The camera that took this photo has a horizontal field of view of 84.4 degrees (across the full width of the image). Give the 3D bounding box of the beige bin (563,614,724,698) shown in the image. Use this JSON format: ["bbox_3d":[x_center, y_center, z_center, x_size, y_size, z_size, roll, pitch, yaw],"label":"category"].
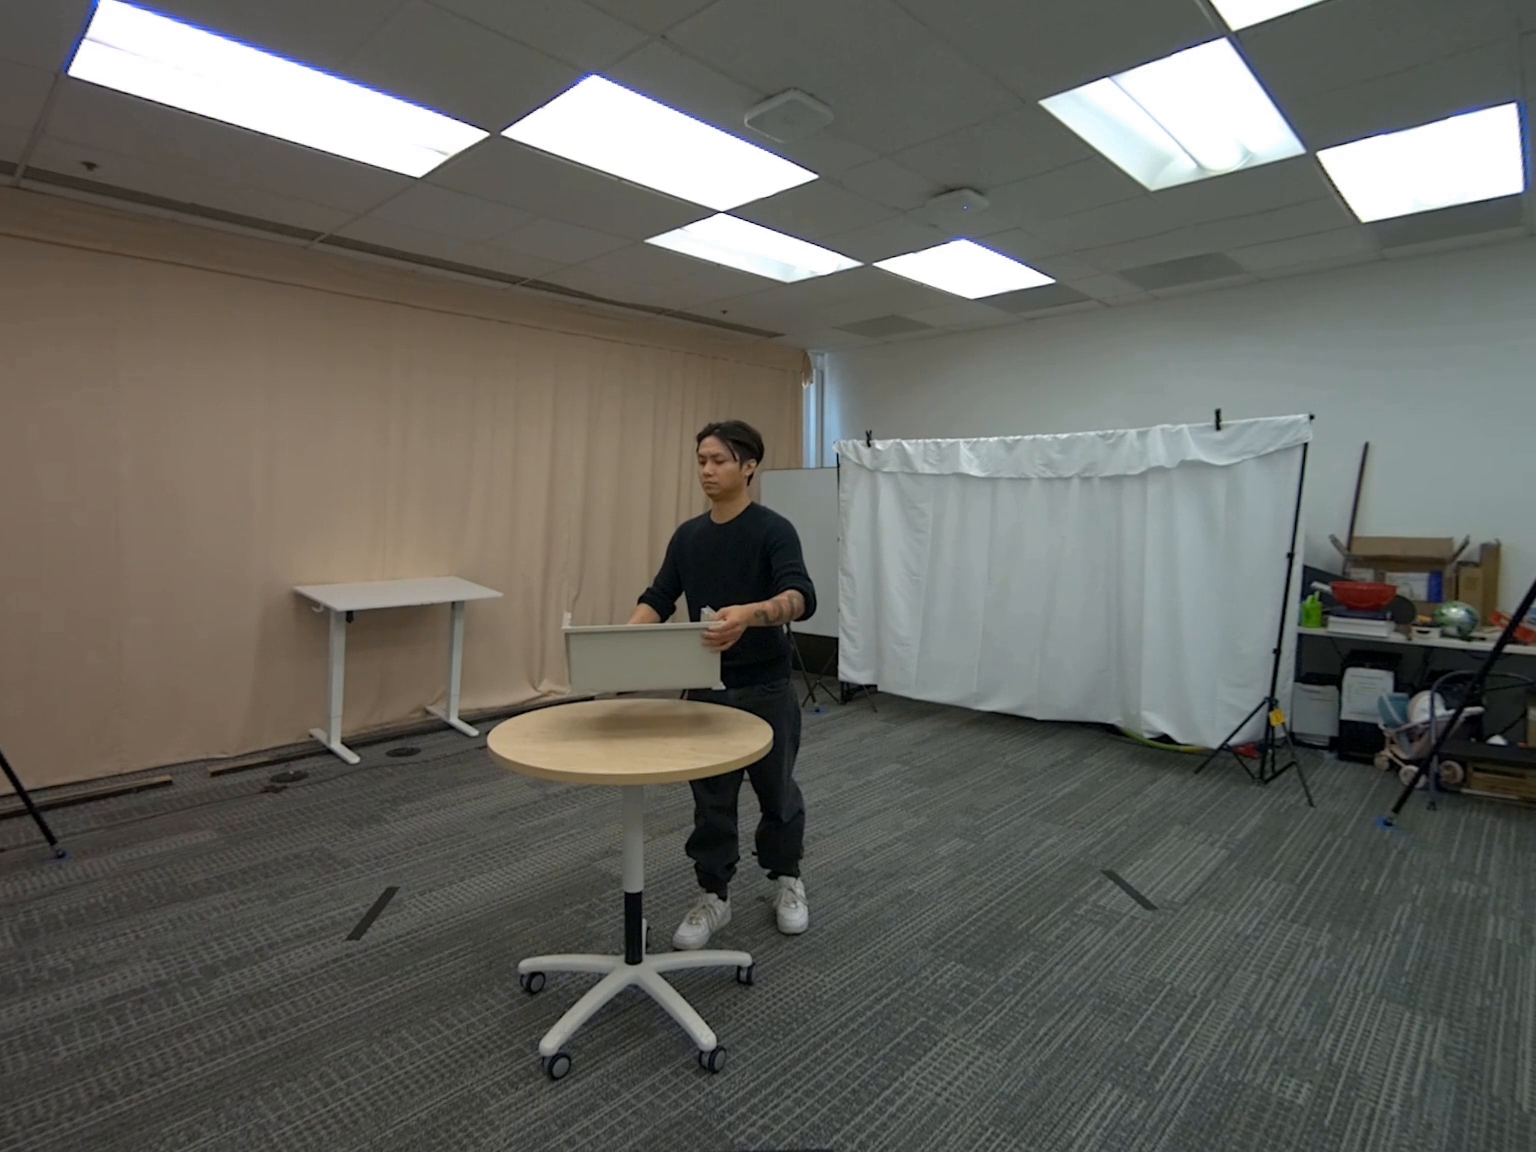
[{"bbox_3d":[-0.356,0.200,2.330,0.418,0.188,0.383,0,7,-11],"label":"beige bin"}]
